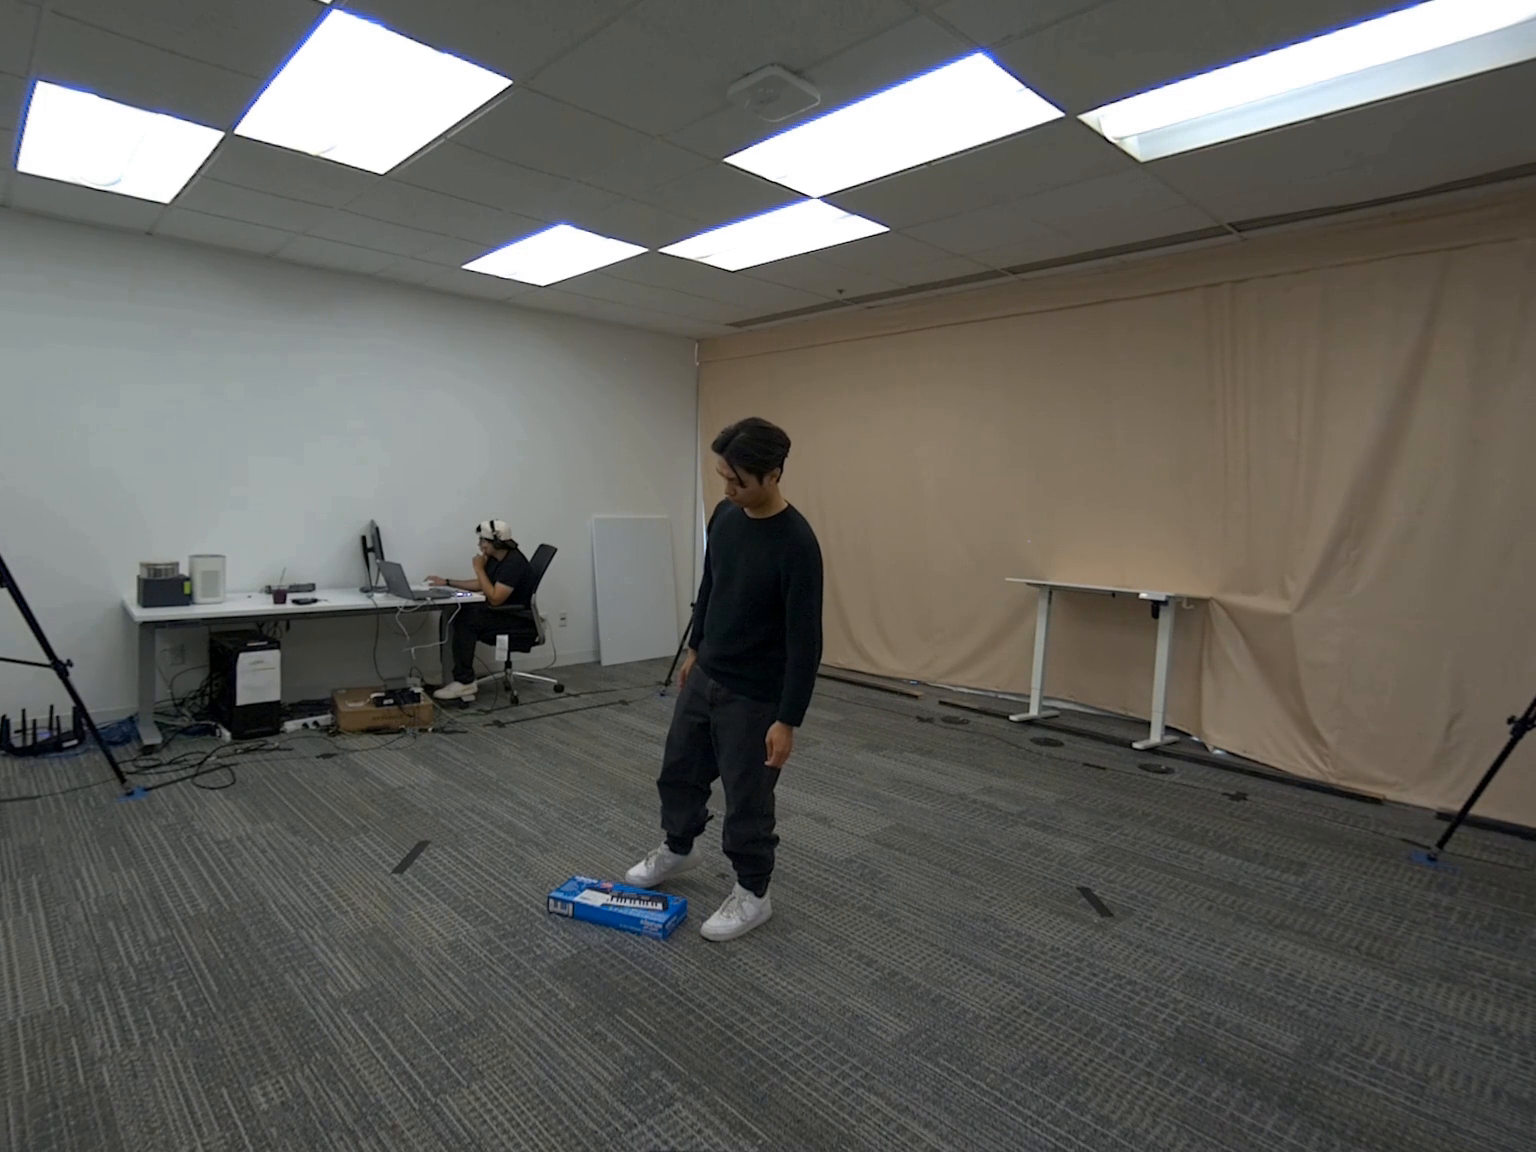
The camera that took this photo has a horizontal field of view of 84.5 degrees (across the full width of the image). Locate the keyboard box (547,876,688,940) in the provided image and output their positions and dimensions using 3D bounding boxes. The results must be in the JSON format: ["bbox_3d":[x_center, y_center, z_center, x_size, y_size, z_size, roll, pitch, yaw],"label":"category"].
[{"bbox_3d":[-0.503,1.092,2.795,0.444,0.059,0.173,3,6,22],"label":"keyboard box"}]
